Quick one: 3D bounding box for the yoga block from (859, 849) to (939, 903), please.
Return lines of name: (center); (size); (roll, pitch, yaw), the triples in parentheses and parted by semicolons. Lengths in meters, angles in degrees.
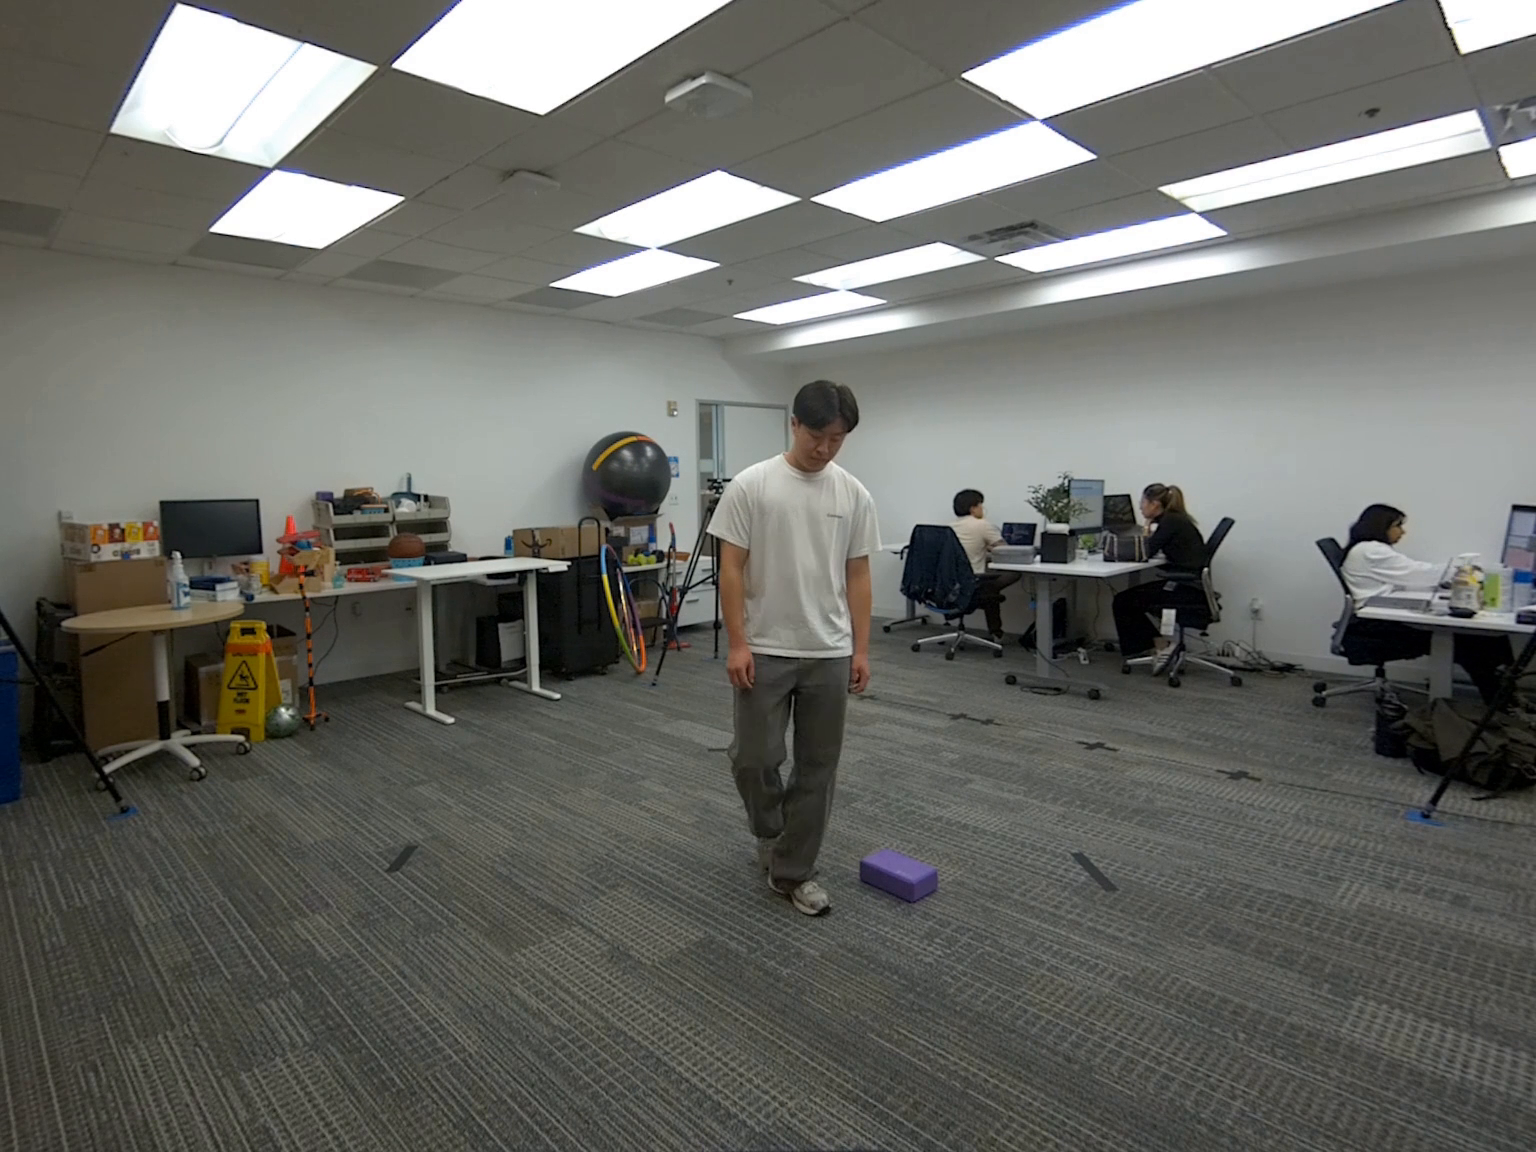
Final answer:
yoga block: (0.446, 1.015, 2.915); (0.145, 0.076, 0.236); (-6, 8, -43)
